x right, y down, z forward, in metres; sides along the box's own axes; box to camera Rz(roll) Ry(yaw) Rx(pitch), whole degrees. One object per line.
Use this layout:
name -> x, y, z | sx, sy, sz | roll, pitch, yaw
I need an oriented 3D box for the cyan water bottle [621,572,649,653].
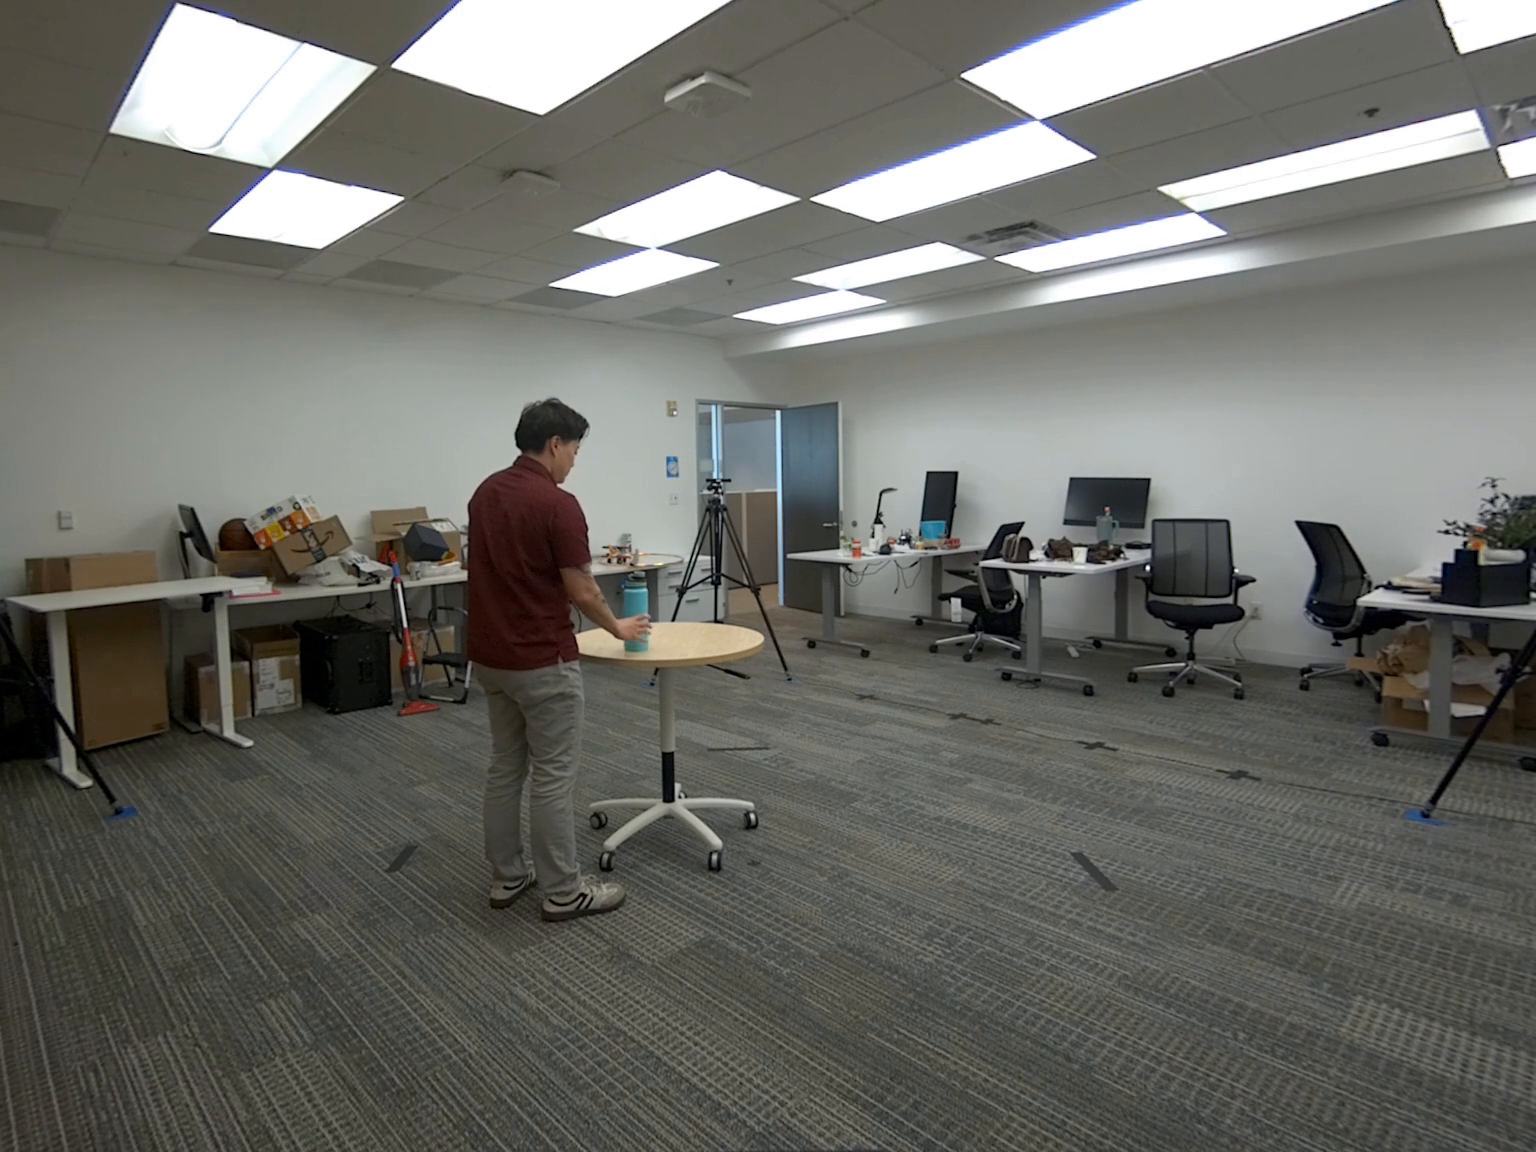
cyan water bottle -> -0.482, 0.128, 3.102 | 0.092, 0.282, 0.093 | -1, 5, -2
